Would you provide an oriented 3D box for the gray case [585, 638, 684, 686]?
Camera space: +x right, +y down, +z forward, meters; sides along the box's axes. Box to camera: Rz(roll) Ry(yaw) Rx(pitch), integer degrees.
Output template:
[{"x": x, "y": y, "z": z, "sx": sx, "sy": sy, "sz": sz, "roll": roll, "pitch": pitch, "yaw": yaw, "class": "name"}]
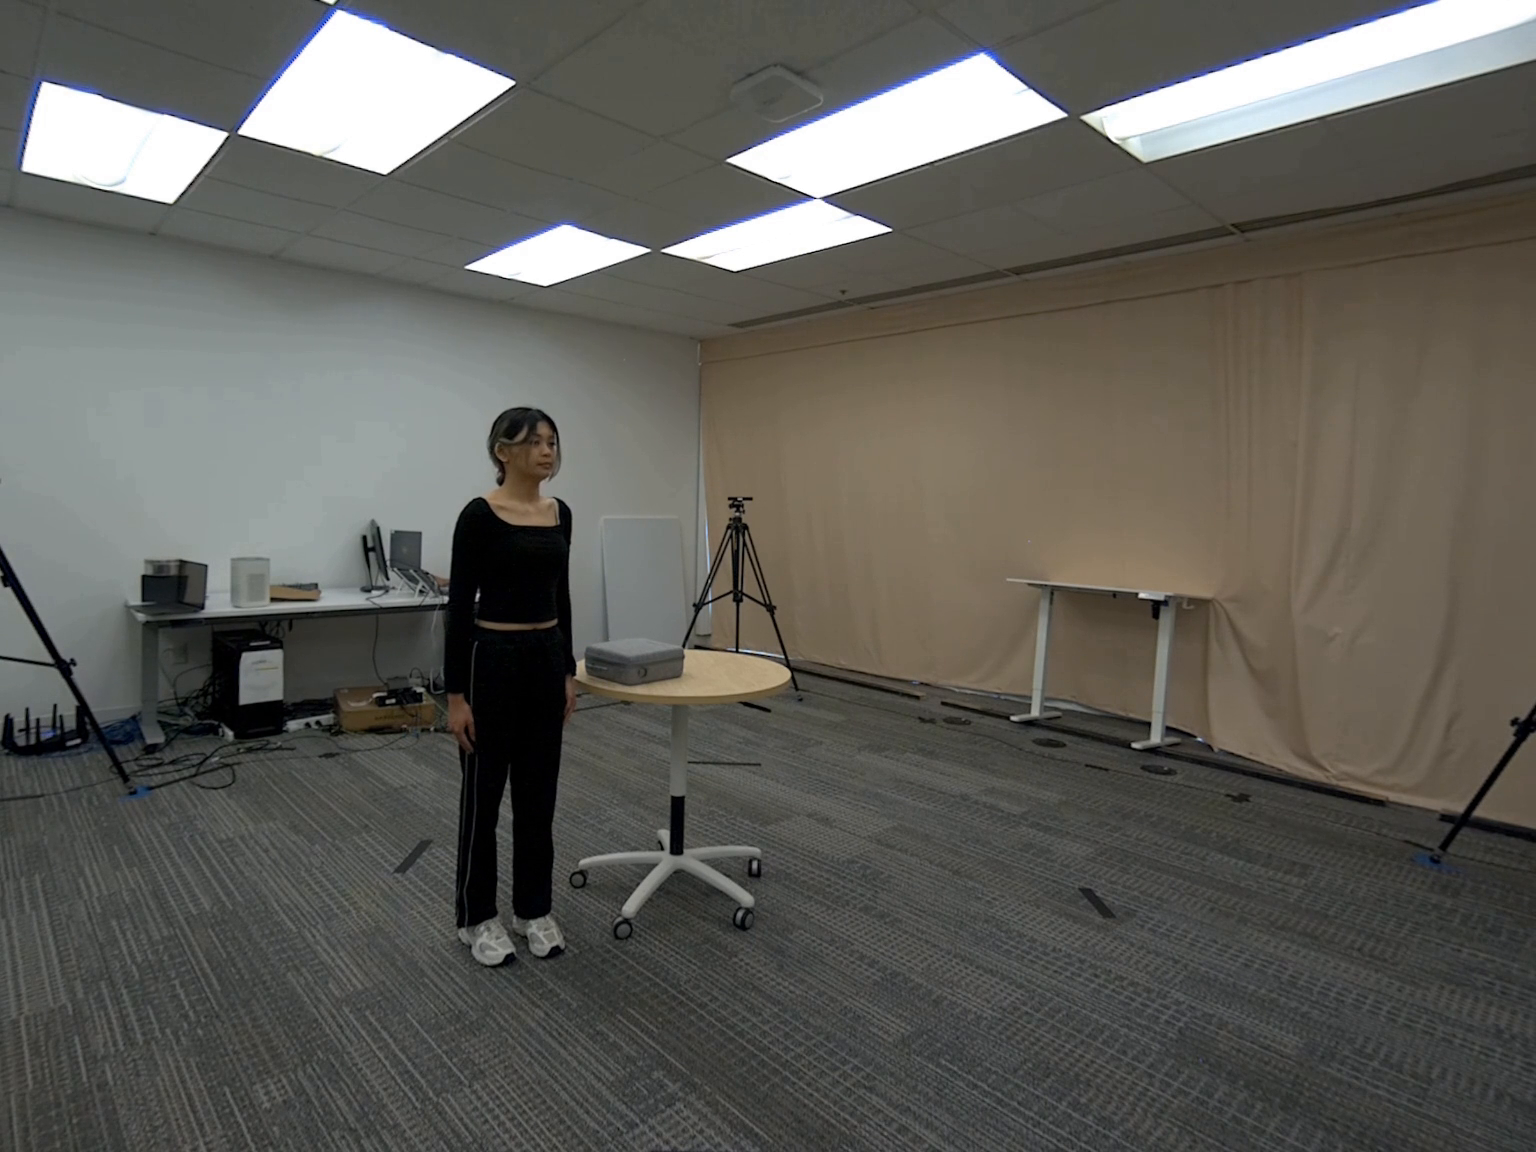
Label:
[{"x": -0.455, "y": 0.275, "z": 2.810, "sx": 0.264, "sy": 0.104, "sz": 0.255, "roll": 8, "pitch": 10, "yaw": 43, "class": "gray case"}]
